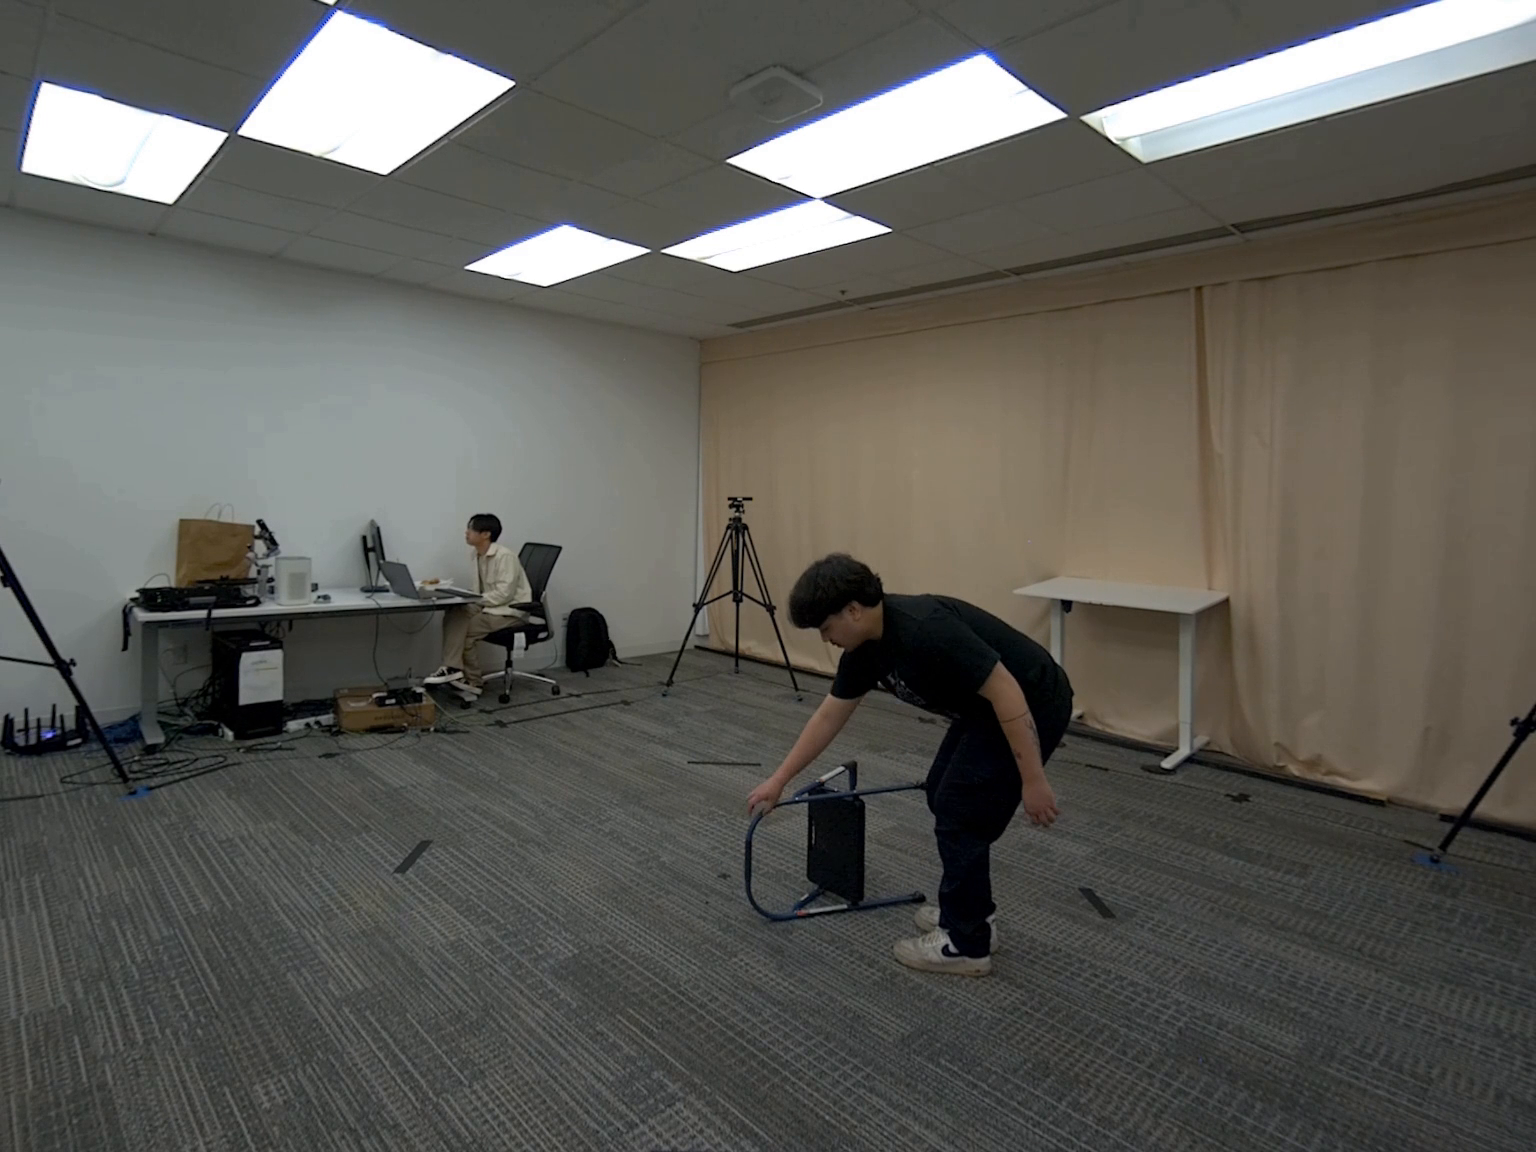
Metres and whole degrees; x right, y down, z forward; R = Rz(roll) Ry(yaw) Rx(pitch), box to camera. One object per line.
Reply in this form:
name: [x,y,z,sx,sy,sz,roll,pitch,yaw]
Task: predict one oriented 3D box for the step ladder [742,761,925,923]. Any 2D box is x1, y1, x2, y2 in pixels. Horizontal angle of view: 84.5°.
step ladder: [0.201,0.924,2.869,0.592,0.429,0.358,-3,5,-40]
